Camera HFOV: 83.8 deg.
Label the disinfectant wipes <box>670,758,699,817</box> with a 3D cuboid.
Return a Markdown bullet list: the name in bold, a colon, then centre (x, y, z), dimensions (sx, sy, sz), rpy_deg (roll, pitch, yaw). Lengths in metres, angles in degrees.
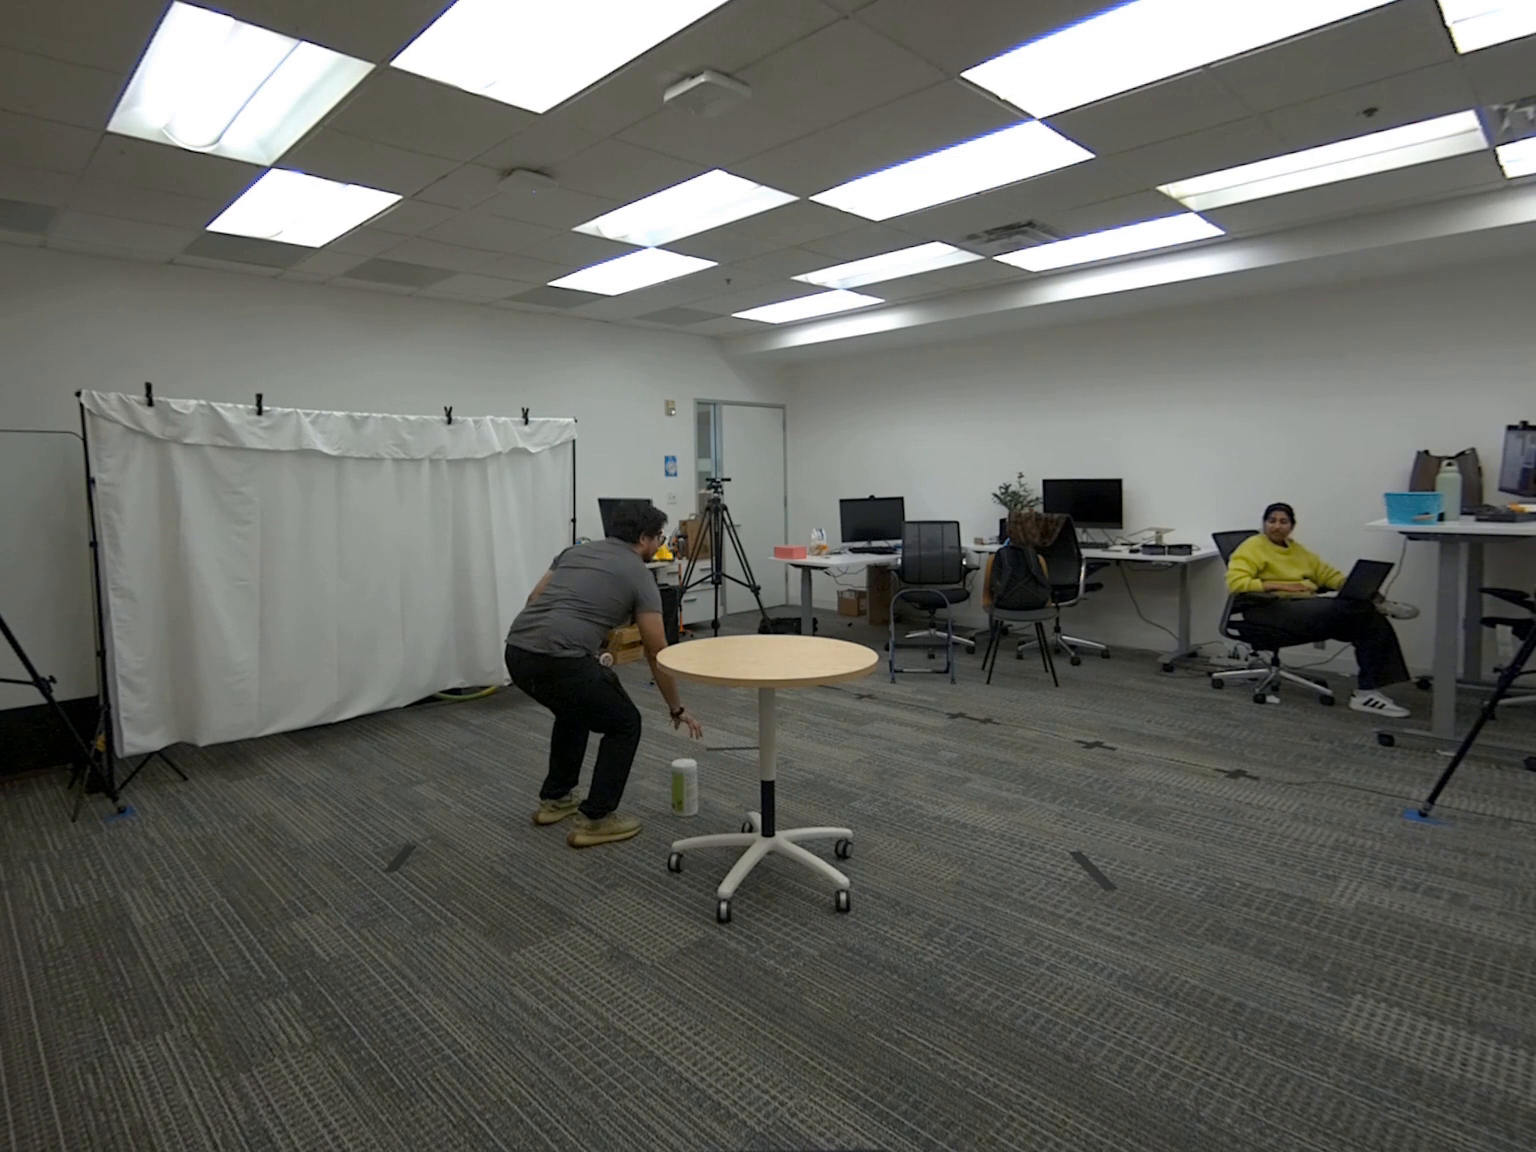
- **disinfectant wipes**: centre (-0.352, 0.884, 3.579), dimensions (0.118, 0.216, 0.118), rpy_deg (0, 6, -2)
